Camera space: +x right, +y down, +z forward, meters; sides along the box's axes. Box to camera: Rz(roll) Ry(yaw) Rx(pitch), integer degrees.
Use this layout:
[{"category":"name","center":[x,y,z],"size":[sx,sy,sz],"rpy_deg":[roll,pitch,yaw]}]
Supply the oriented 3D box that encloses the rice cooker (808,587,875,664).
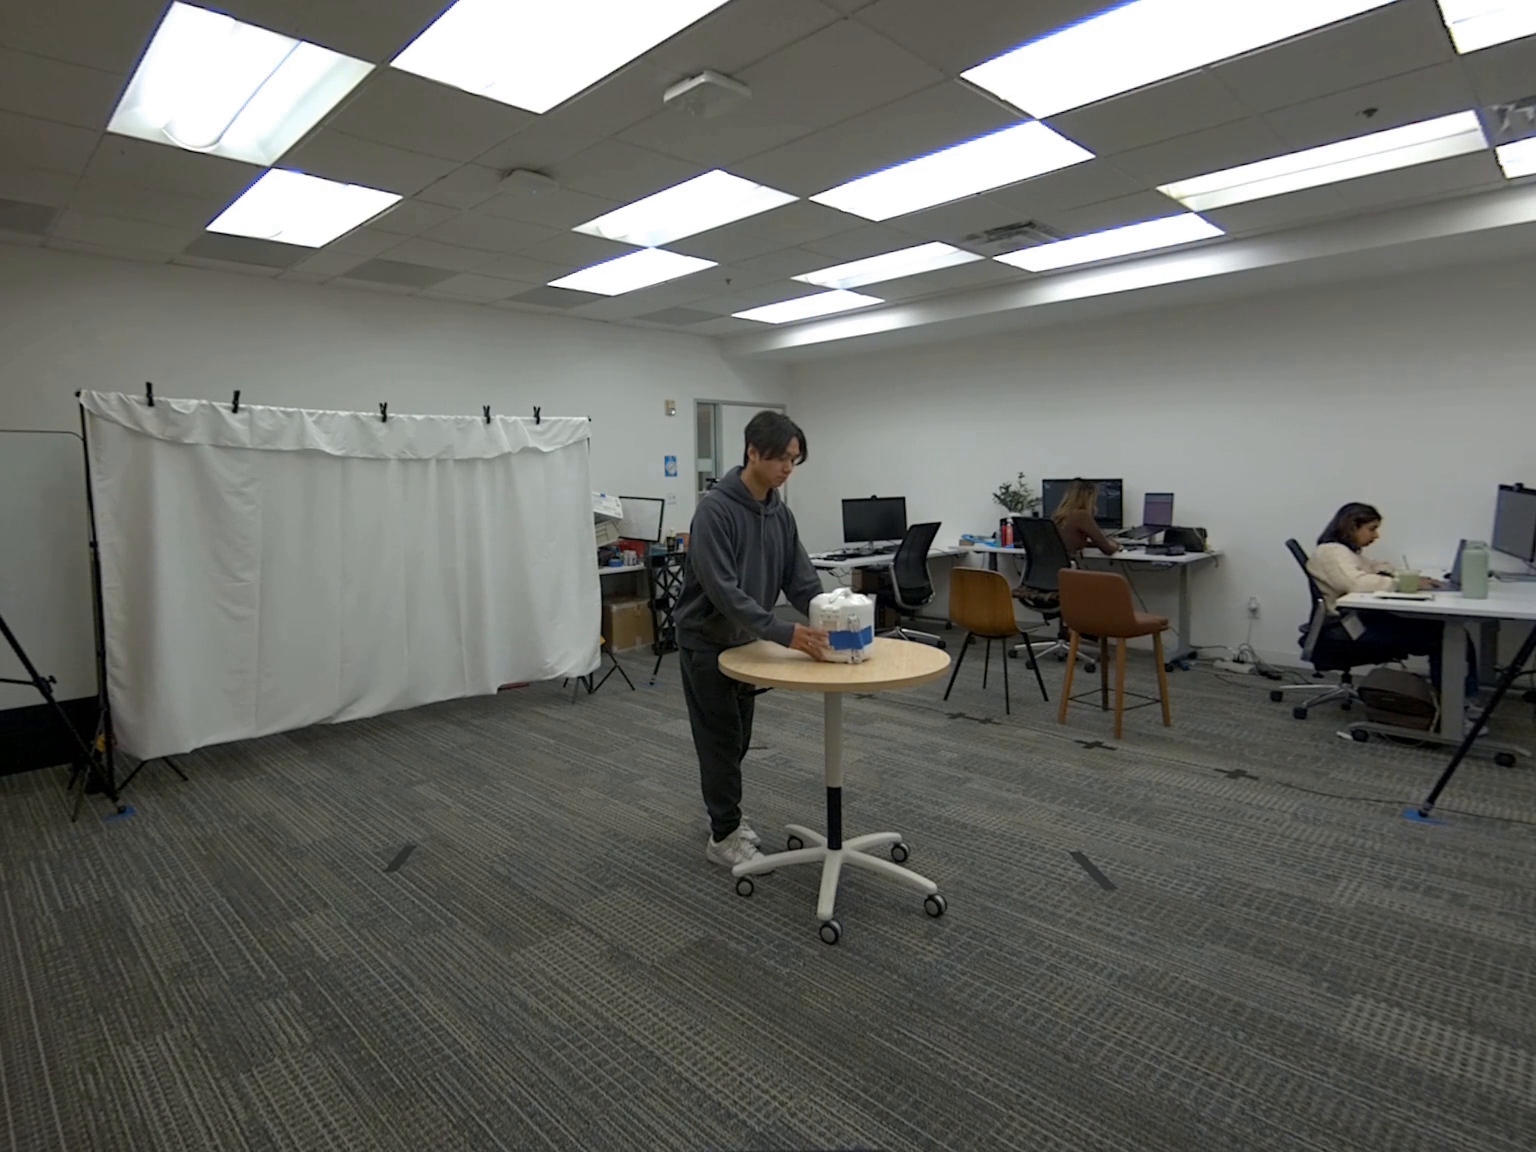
[{"category":"rice cooker","center":[0.239,0.157,2.814],"size":[0.223,0.232,0.216],"rpy_deg":[2,5,27]}]
